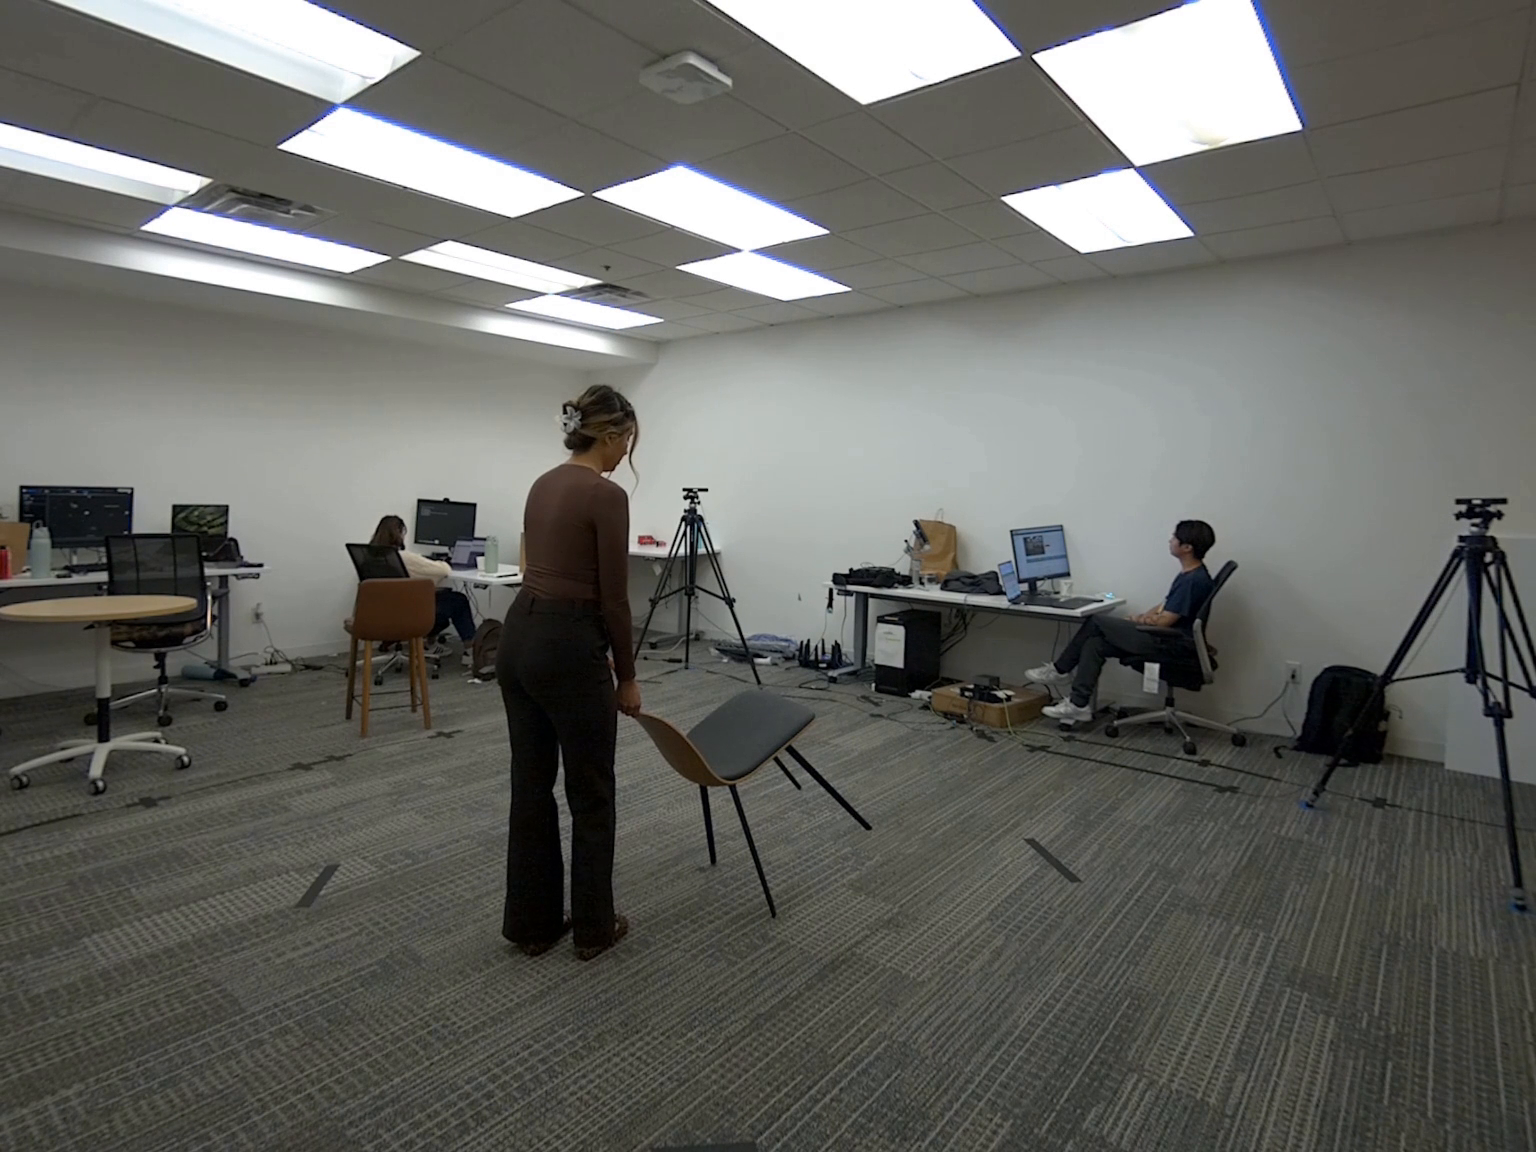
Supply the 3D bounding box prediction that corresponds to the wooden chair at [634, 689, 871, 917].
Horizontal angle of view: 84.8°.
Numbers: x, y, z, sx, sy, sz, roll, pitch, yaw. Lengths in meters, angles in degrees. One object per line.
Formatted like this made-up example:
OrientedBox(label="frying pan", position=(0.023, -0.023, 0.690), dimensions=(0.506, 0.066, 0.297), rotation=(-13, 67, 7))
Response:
OrientedBox(label="wooden chair", position=(-0.111, 0.601, 2.925), dimensions=(0.520, 0.857, 0.492), rotation=(-38, 20, -21))
